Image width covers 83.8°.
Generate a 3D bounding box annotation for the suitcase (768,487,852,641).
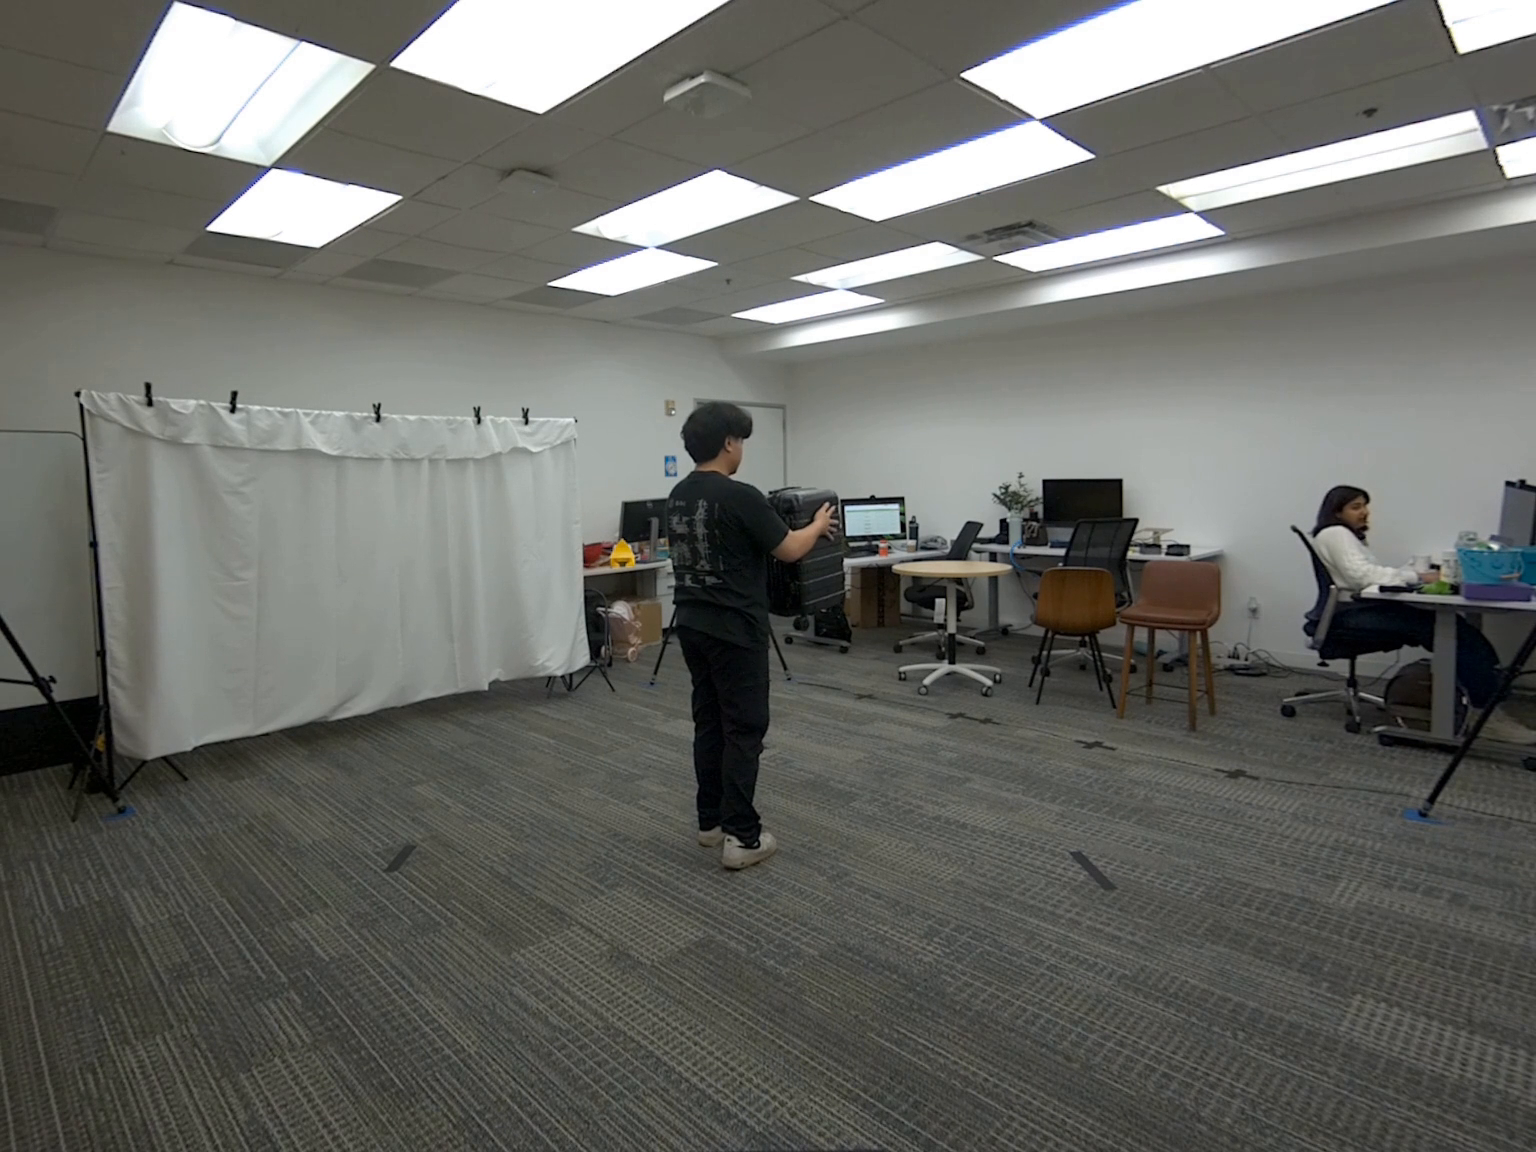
[{"bbox_3d":[0.137,-0.086,3.510,0.255,0.547,0.366,1,6,38],"label":"suitcase"}]
